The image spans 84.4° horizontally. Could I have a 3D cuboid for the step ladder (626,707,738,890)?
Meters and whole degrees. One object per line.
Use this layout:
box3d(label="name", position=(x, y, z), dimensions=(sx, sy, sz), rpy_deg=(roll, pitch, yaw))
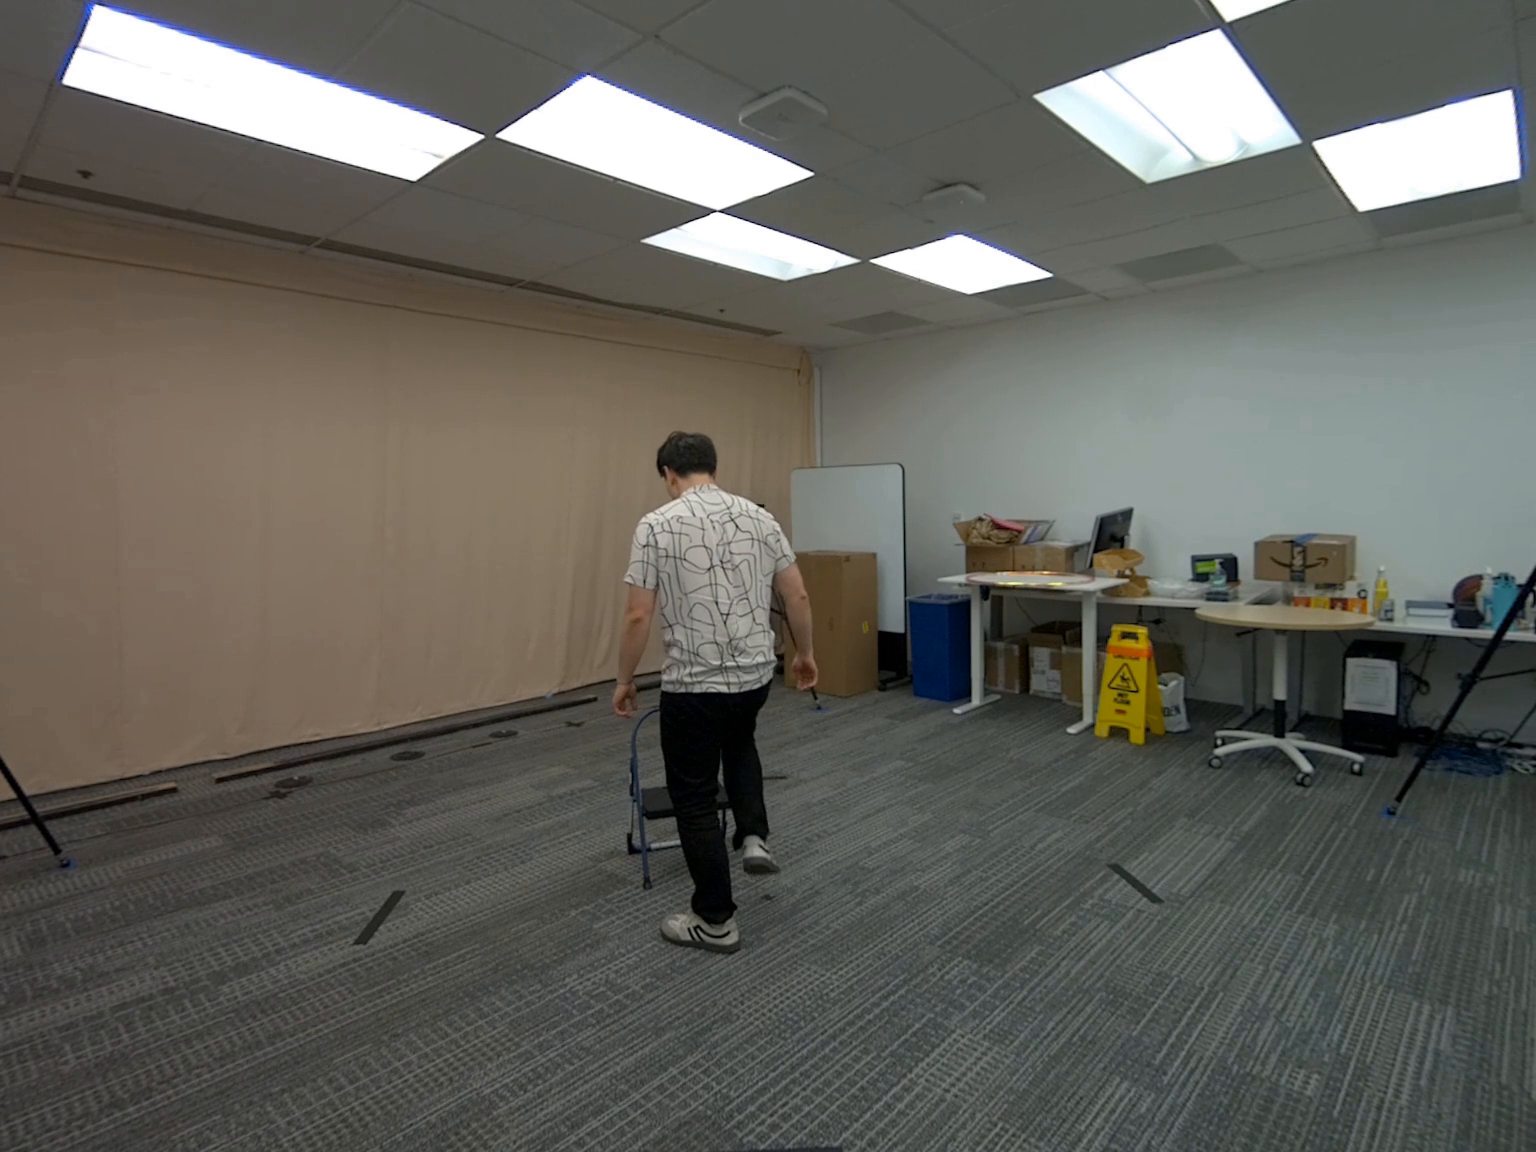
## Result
box3d(label="step ladder", position=(-0.320, 0.816, 3.279), dimensions=(0.422, 0.604, 0.357), rpy_deg=(-2, 4, -20))
